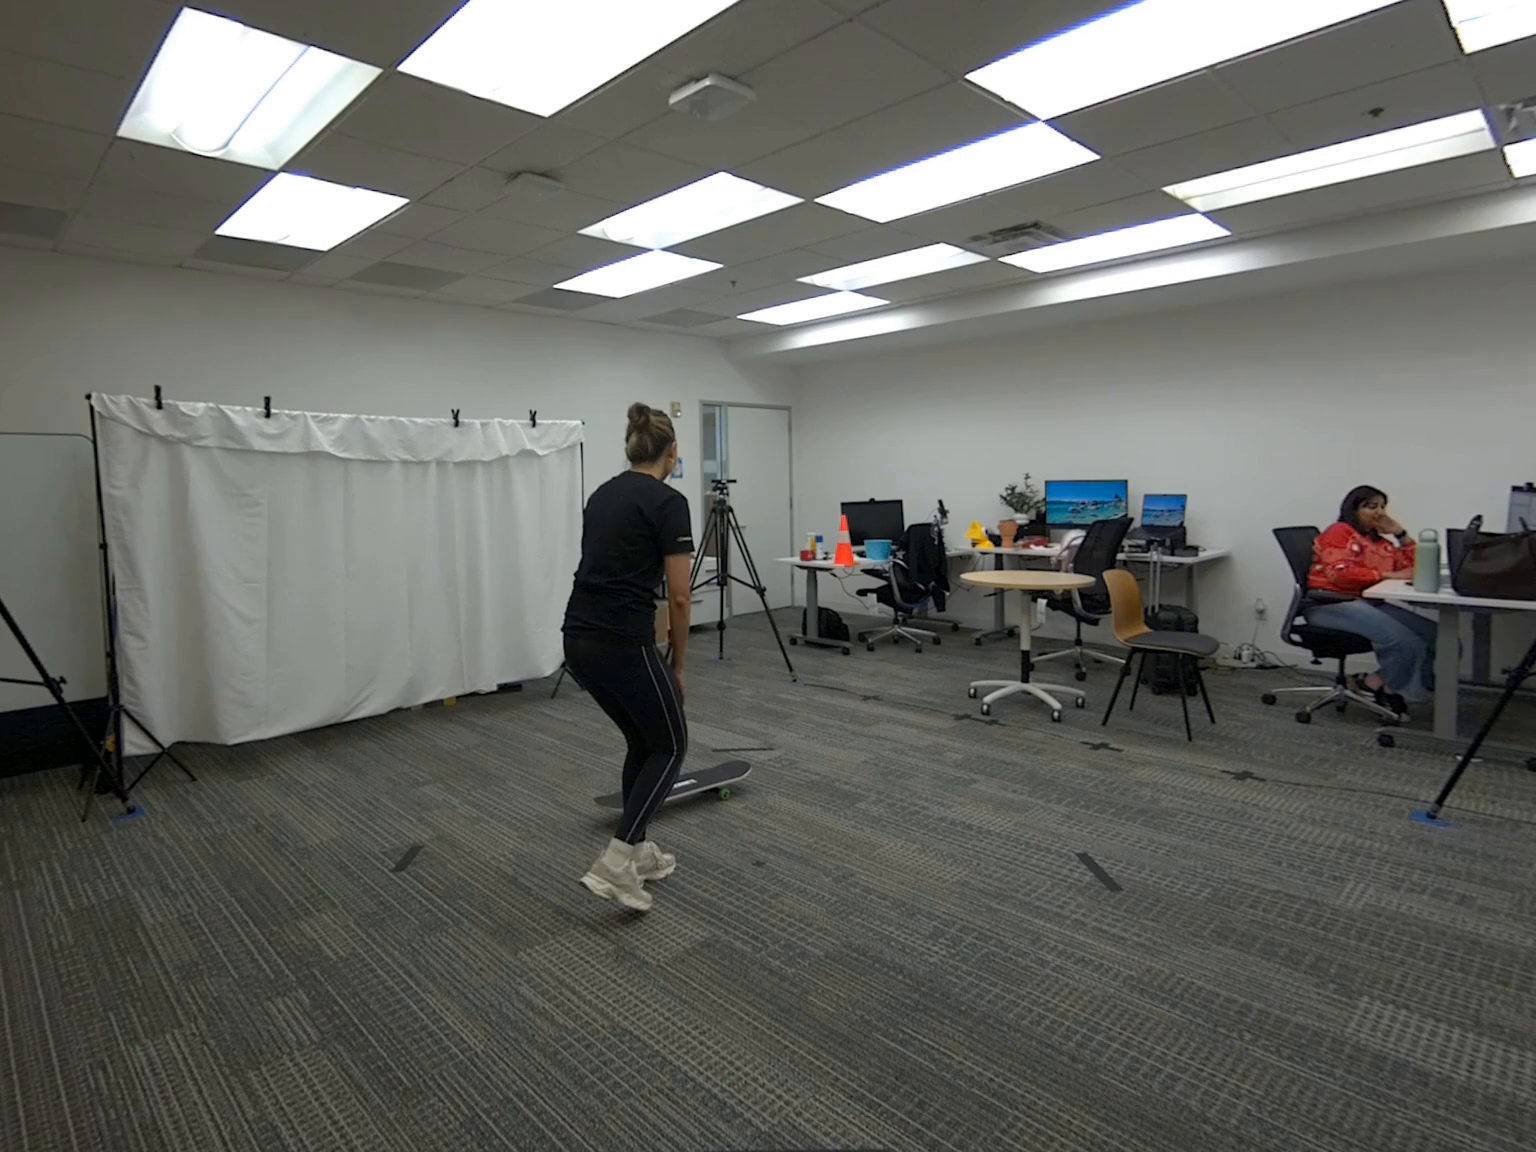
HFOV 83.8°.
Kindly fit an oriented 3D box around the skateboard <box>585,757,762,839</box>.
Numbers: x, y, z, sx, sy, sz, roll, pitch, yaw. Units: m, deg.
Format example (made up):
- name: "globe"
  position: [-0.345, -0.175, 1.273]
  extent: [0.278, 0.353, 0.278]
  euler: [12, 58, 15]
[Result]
- name: "skateboard"
  position: [-0.392, 0.935, 3.680]
  extent: [0.765, 0.110, 0.199]
  euler: [-6, 8, -39]
